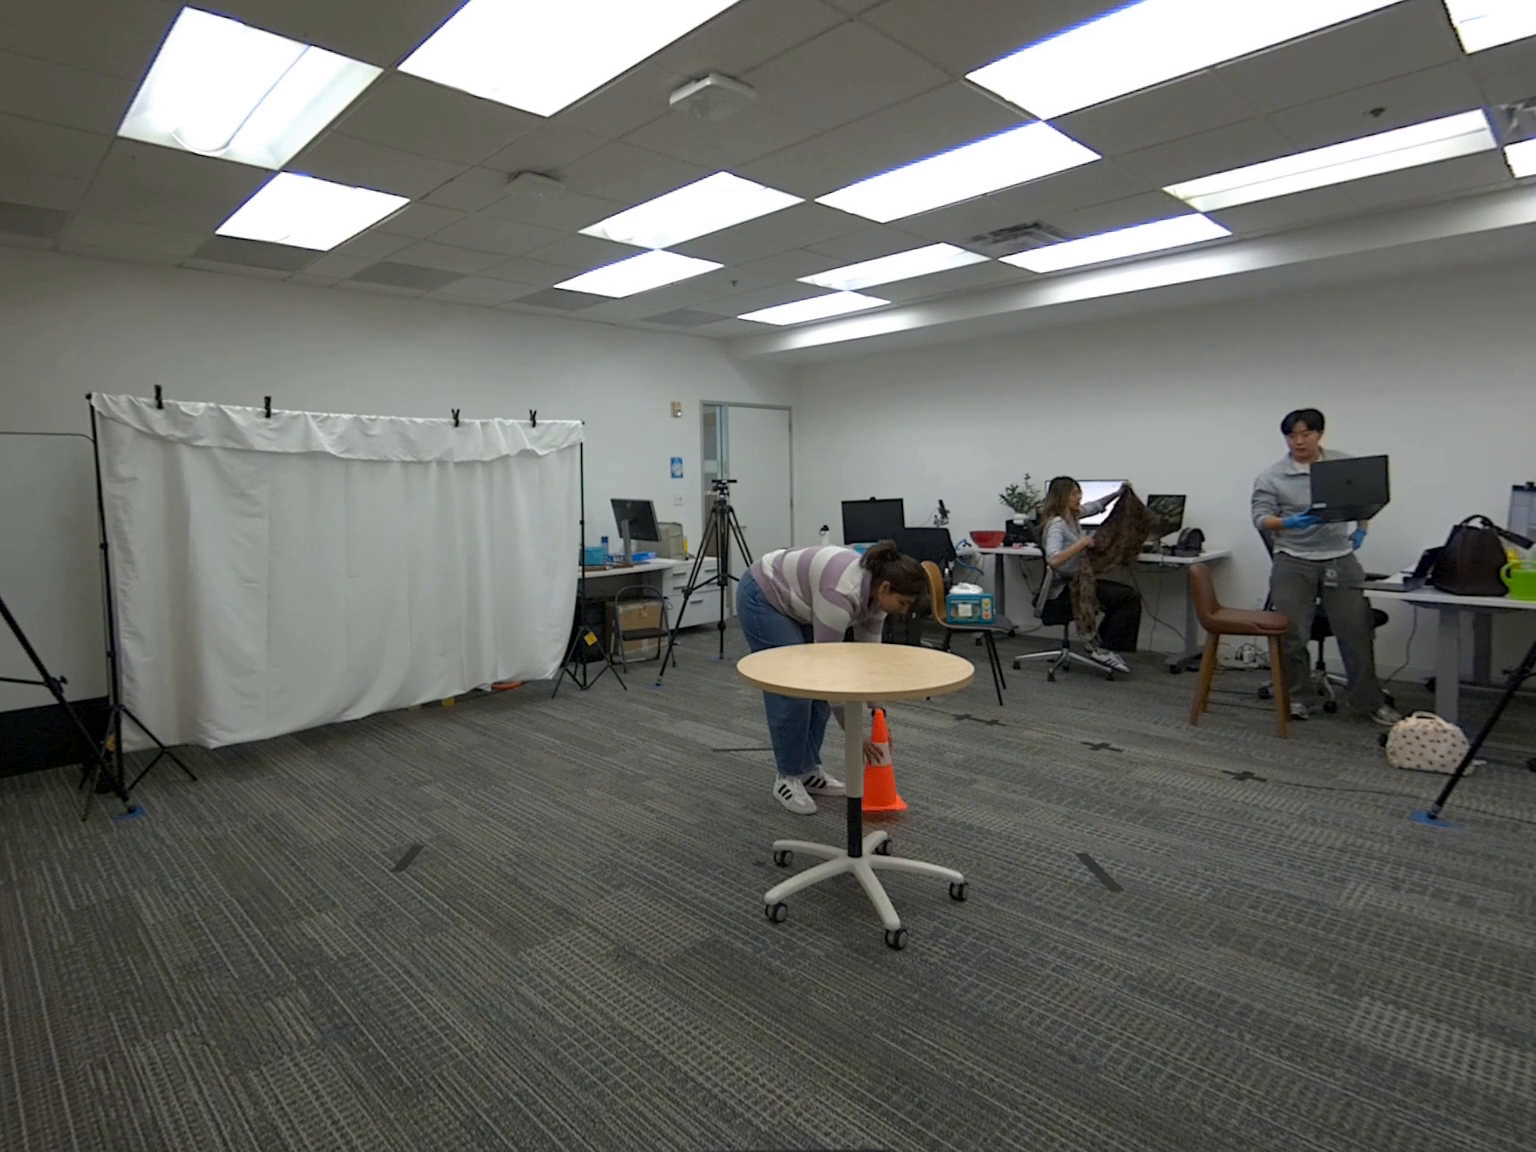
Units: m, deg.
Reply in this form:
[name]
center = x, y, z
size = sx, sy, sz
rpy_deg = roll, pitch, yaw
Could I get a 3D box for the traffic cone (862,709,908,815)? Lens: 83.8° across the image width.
[traffic cone]
center = 0.464, 0.740, 3.532
size = 0.202, 0.381, 0.207
rpy_deg = -4, 9, -14
